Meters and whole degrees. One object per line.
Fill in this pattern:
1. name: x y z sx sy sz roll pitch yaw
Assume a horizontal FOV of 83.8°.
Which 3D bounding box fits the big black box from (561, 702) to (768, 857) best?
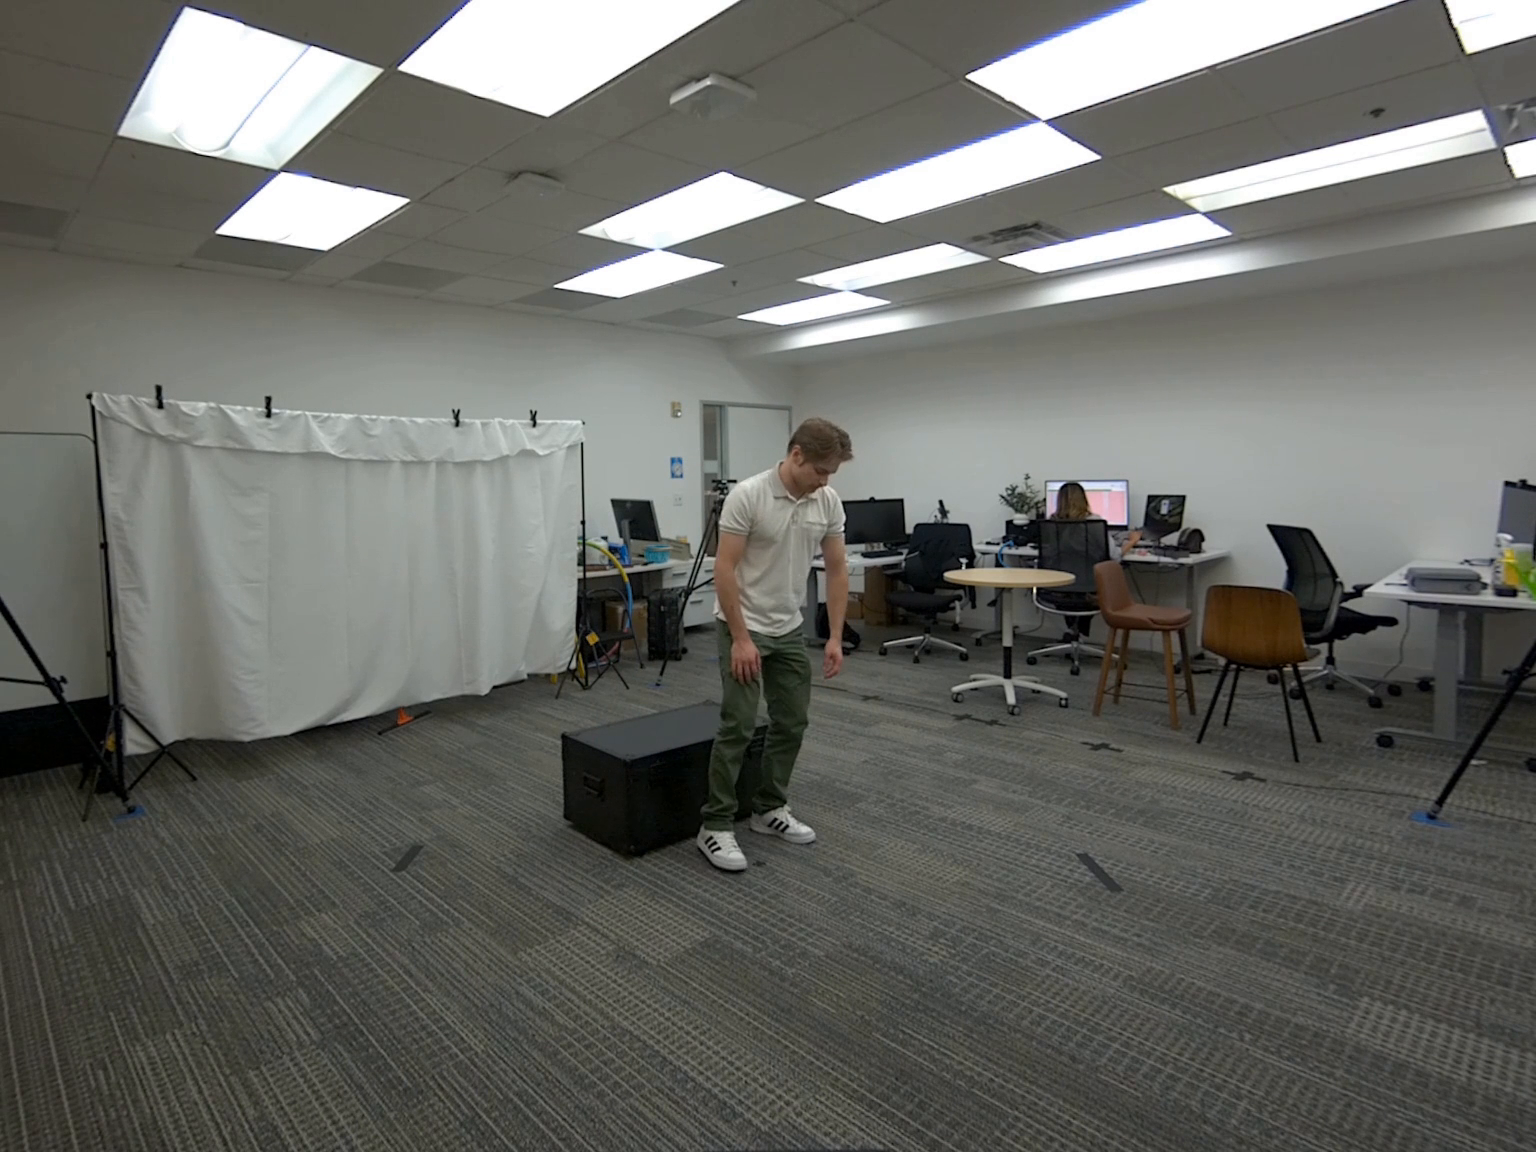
1. big black box: -0.364 0.805 3.575 0.846 0.384 0.539 -6 6 -41
